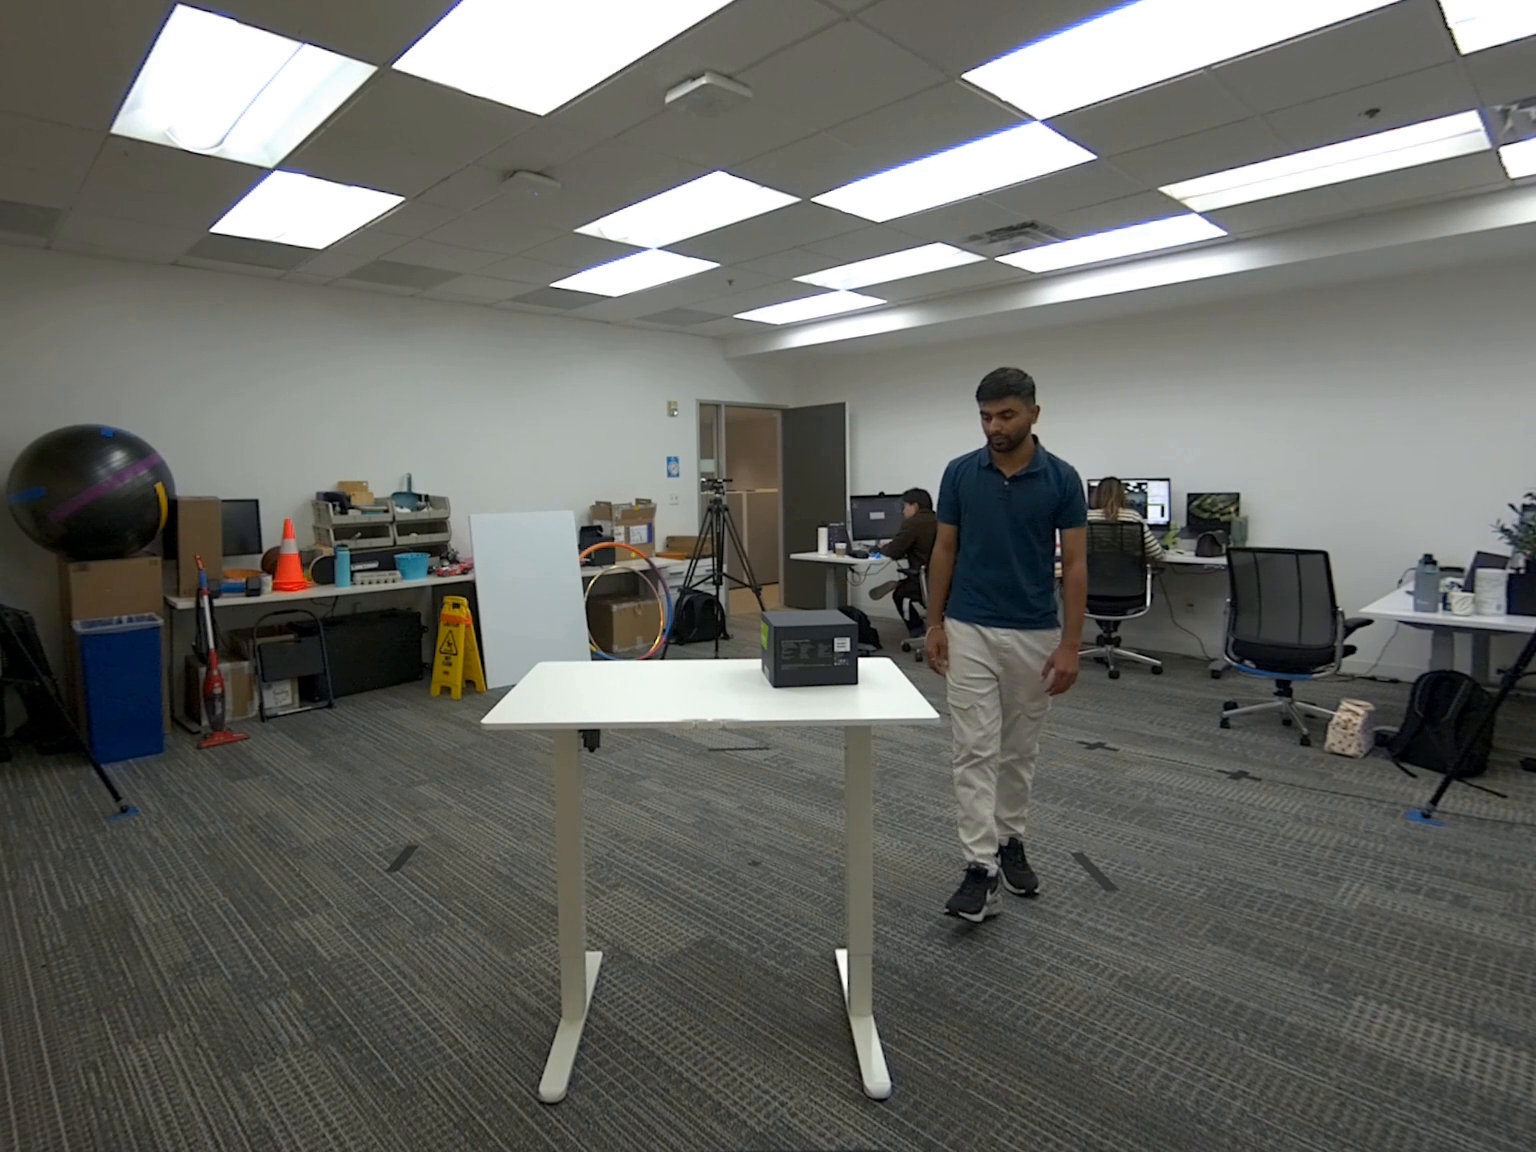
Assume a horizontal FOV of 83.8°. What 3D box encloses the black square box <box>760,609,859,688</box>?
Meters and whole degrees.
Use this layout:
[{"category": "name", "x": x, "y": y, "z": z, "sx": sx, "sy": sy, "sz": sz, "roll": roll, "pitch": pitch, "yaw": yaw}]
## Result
[{"category": "black square box", "x": 0.089, "y": 0.188, "z": 2.224, "sx": 0.217, "sy": 0.155, "sz": 0.230, "roll": -1, "pitch": 8, "yaw": -2}]
